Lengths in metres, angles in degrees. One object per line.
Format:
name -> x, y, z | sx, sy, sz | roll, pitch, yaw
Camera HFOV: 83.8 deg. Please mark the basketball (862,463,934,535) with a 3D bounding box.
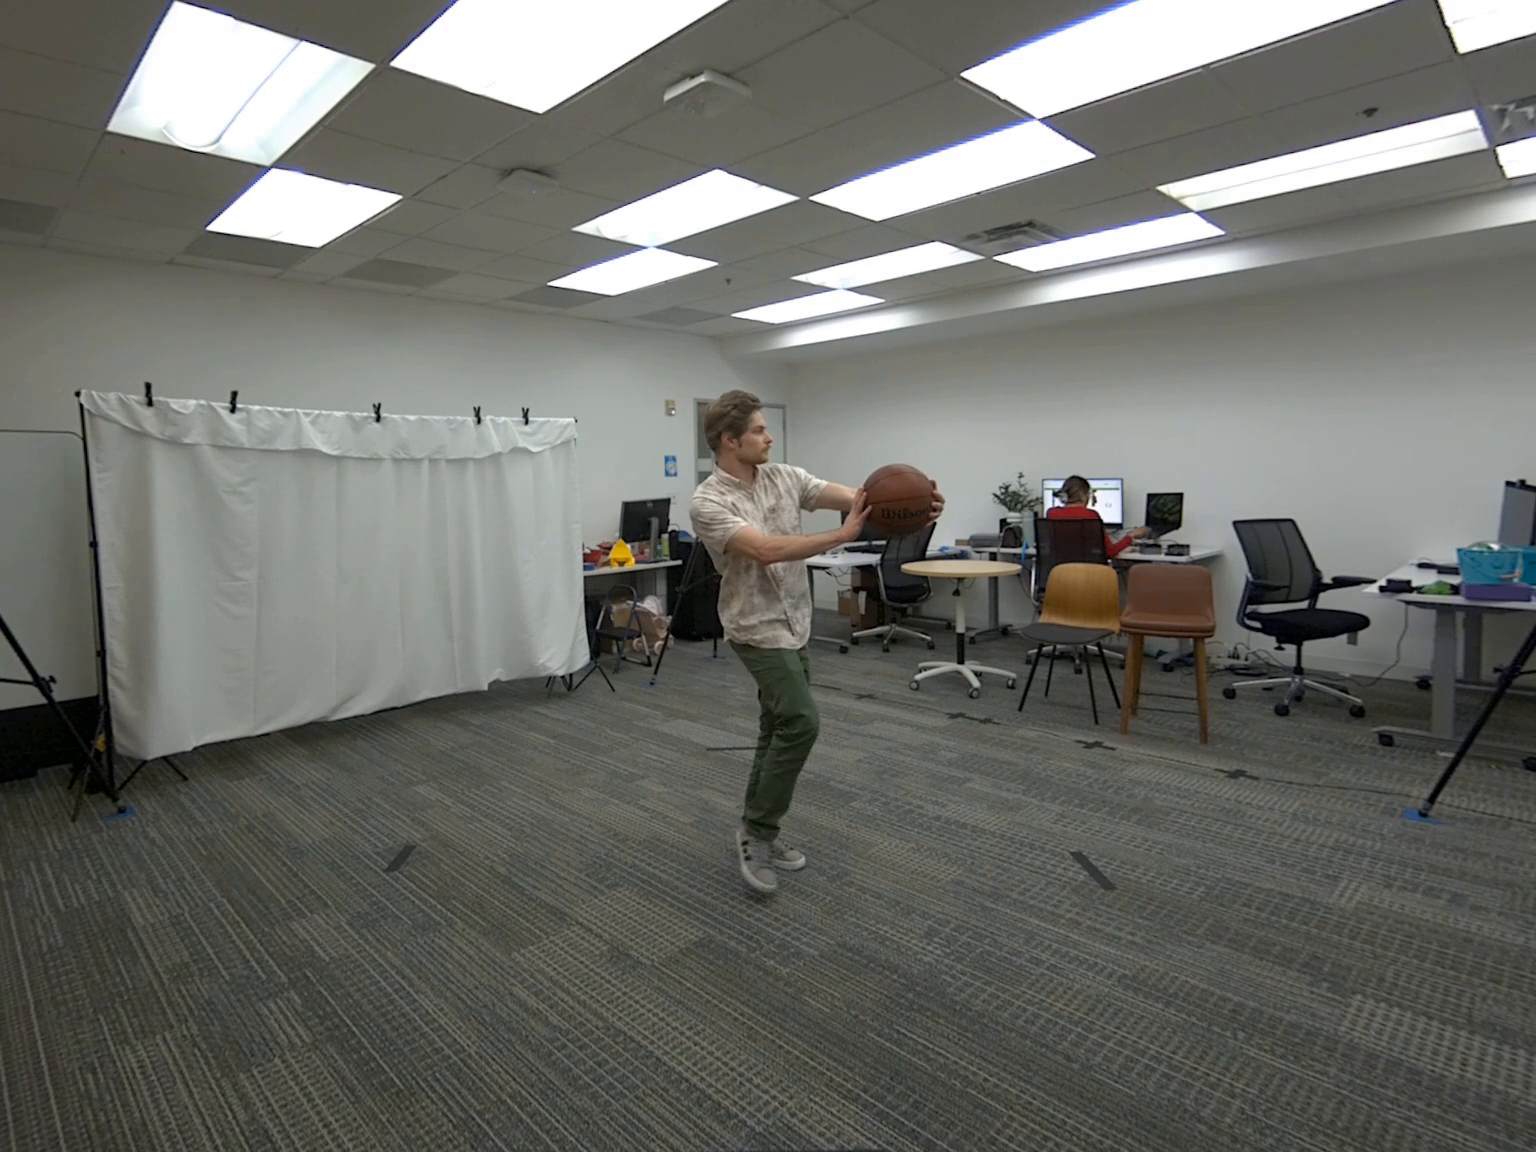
basketball -> 0.427, -0.253, 2.768 | 0.236, 0.235, 0.237 | -1, 5, -2
